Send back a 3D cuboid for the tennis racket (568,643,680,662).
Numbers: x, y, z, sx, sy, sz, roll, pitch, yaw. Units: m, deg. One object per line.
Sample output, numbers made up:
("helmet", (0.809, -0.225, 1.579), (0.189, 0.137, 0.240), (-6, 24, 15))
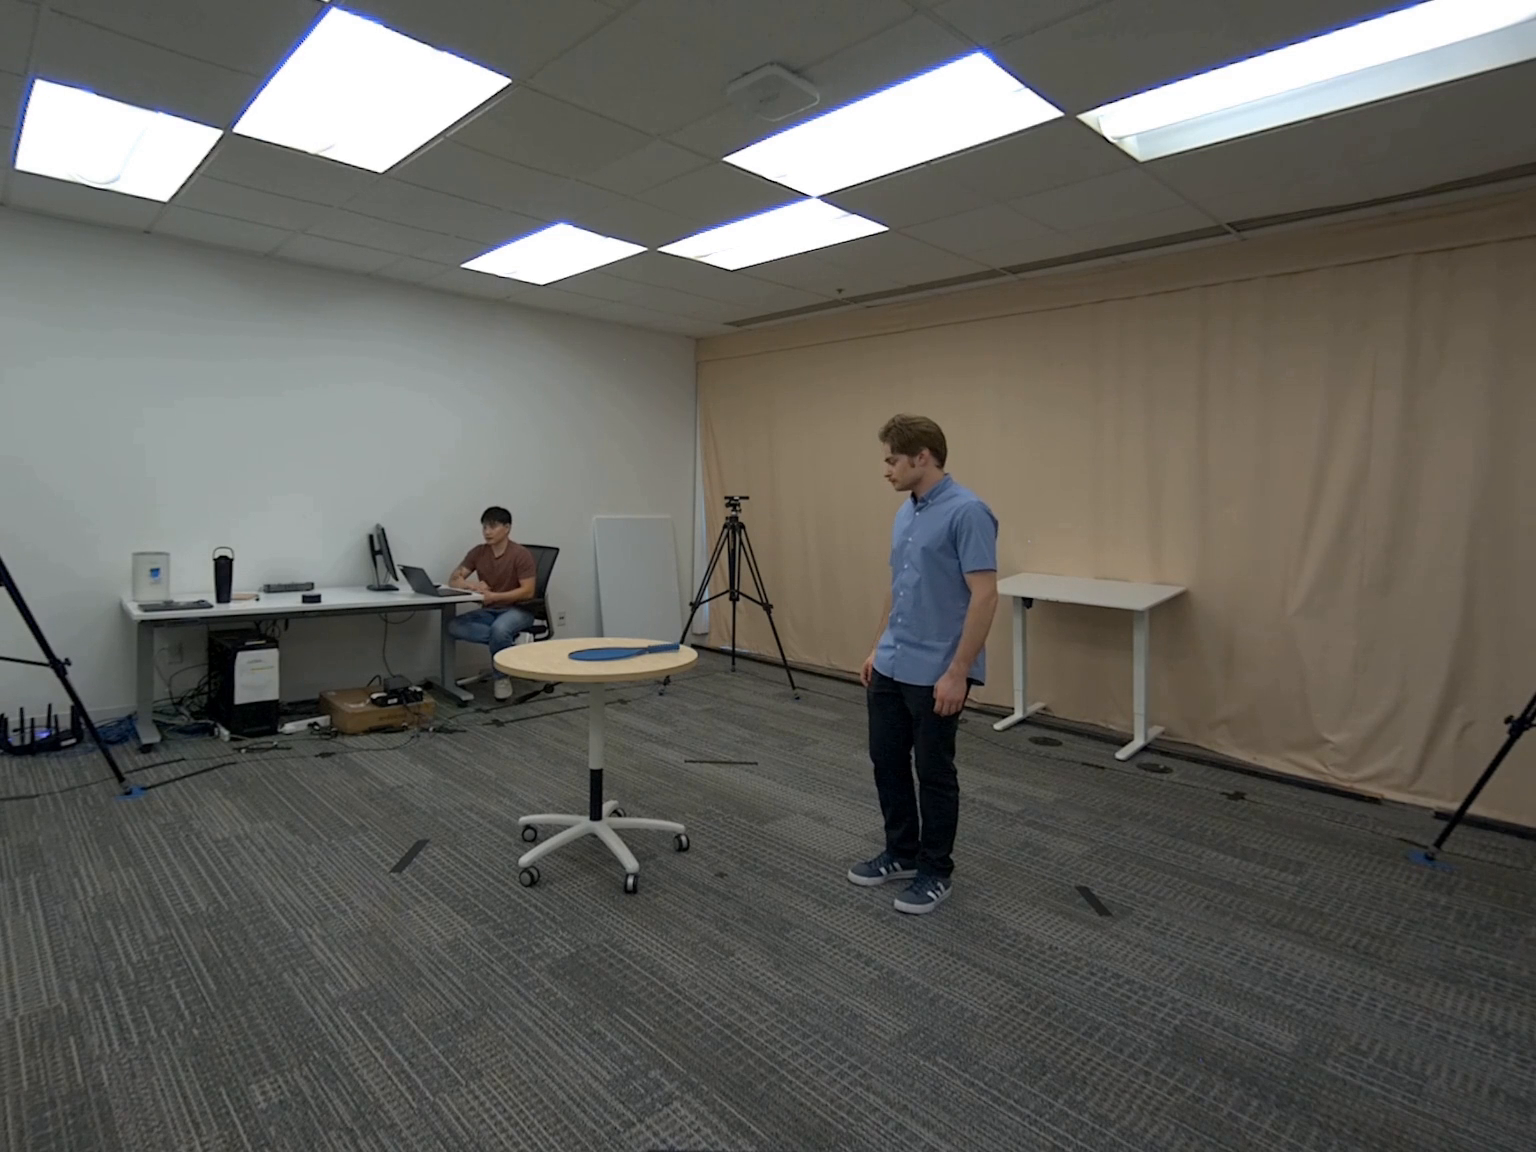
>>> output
("tennis racket", (-0.553, 0.292, 3.198), (0.426, 0.032, 0.217), (-3, 5, -21))
